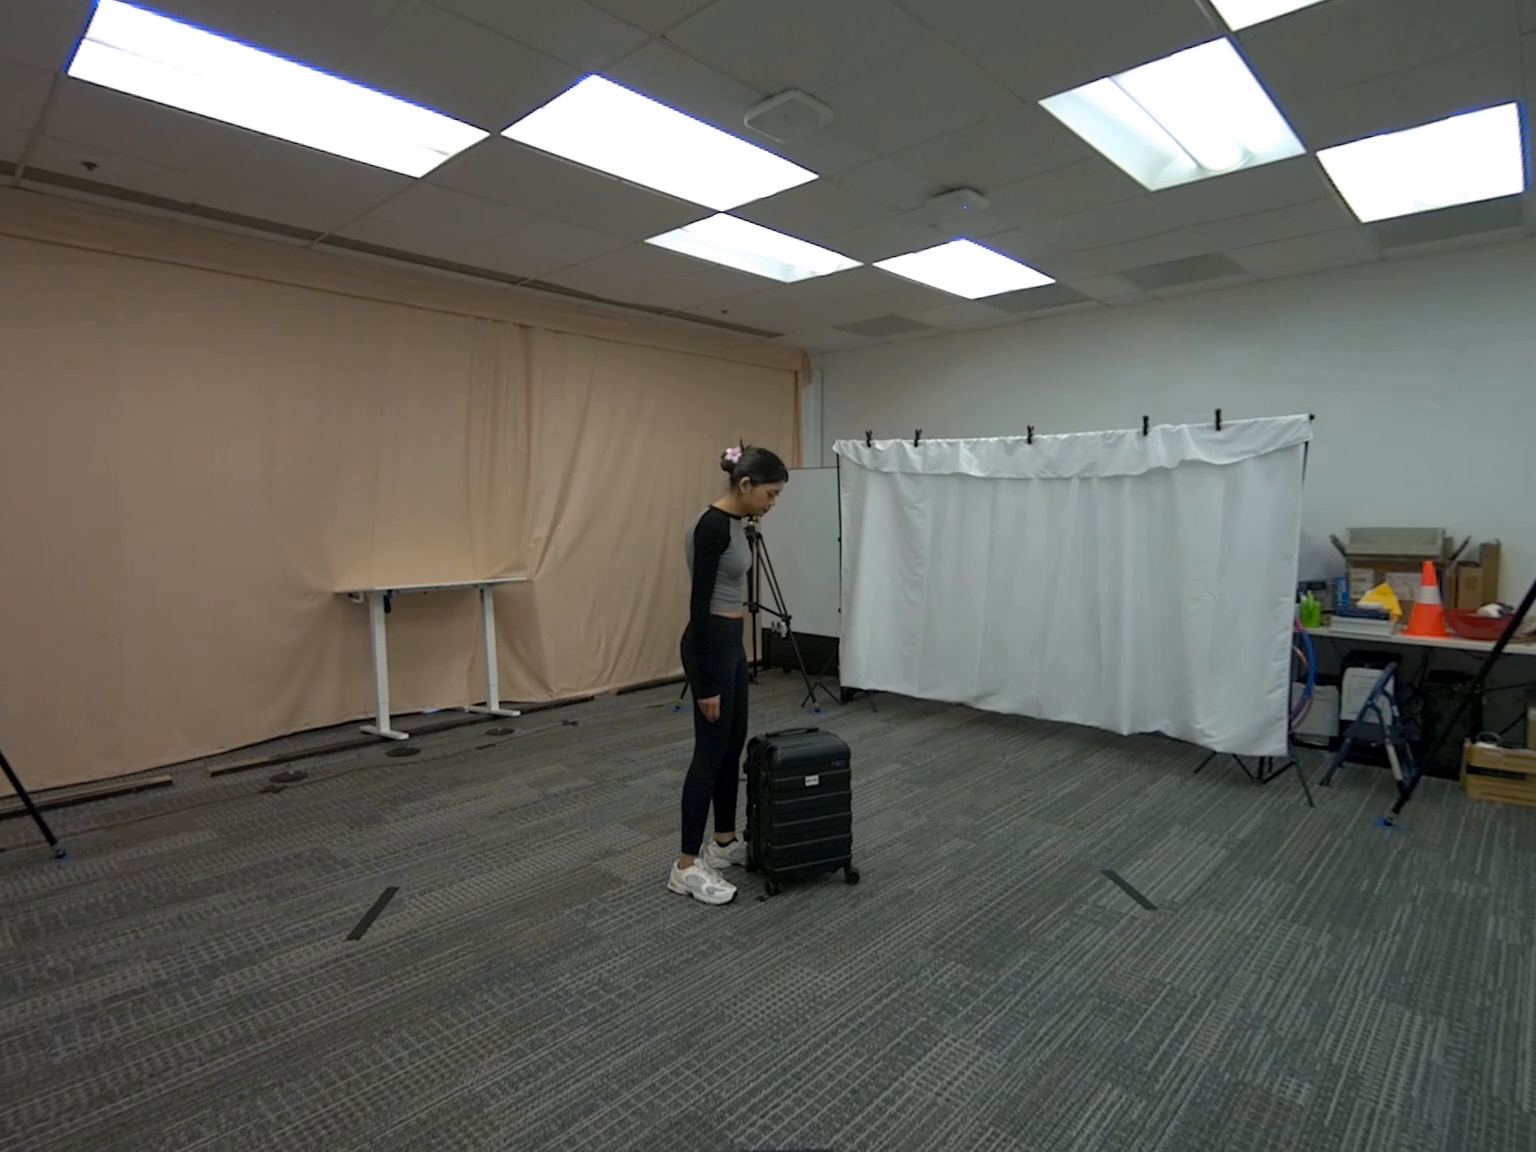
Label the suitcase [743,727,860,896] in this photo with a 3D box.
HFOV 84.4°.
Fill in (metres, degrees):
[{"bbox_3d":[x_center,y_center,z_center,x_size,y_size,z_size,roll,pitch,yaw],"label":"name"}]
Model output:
[{"bbox_3d":[0.121,0.851,3.130,0.367,0.548,0.254,-1,4,-21],"label":"suitcase"}]
